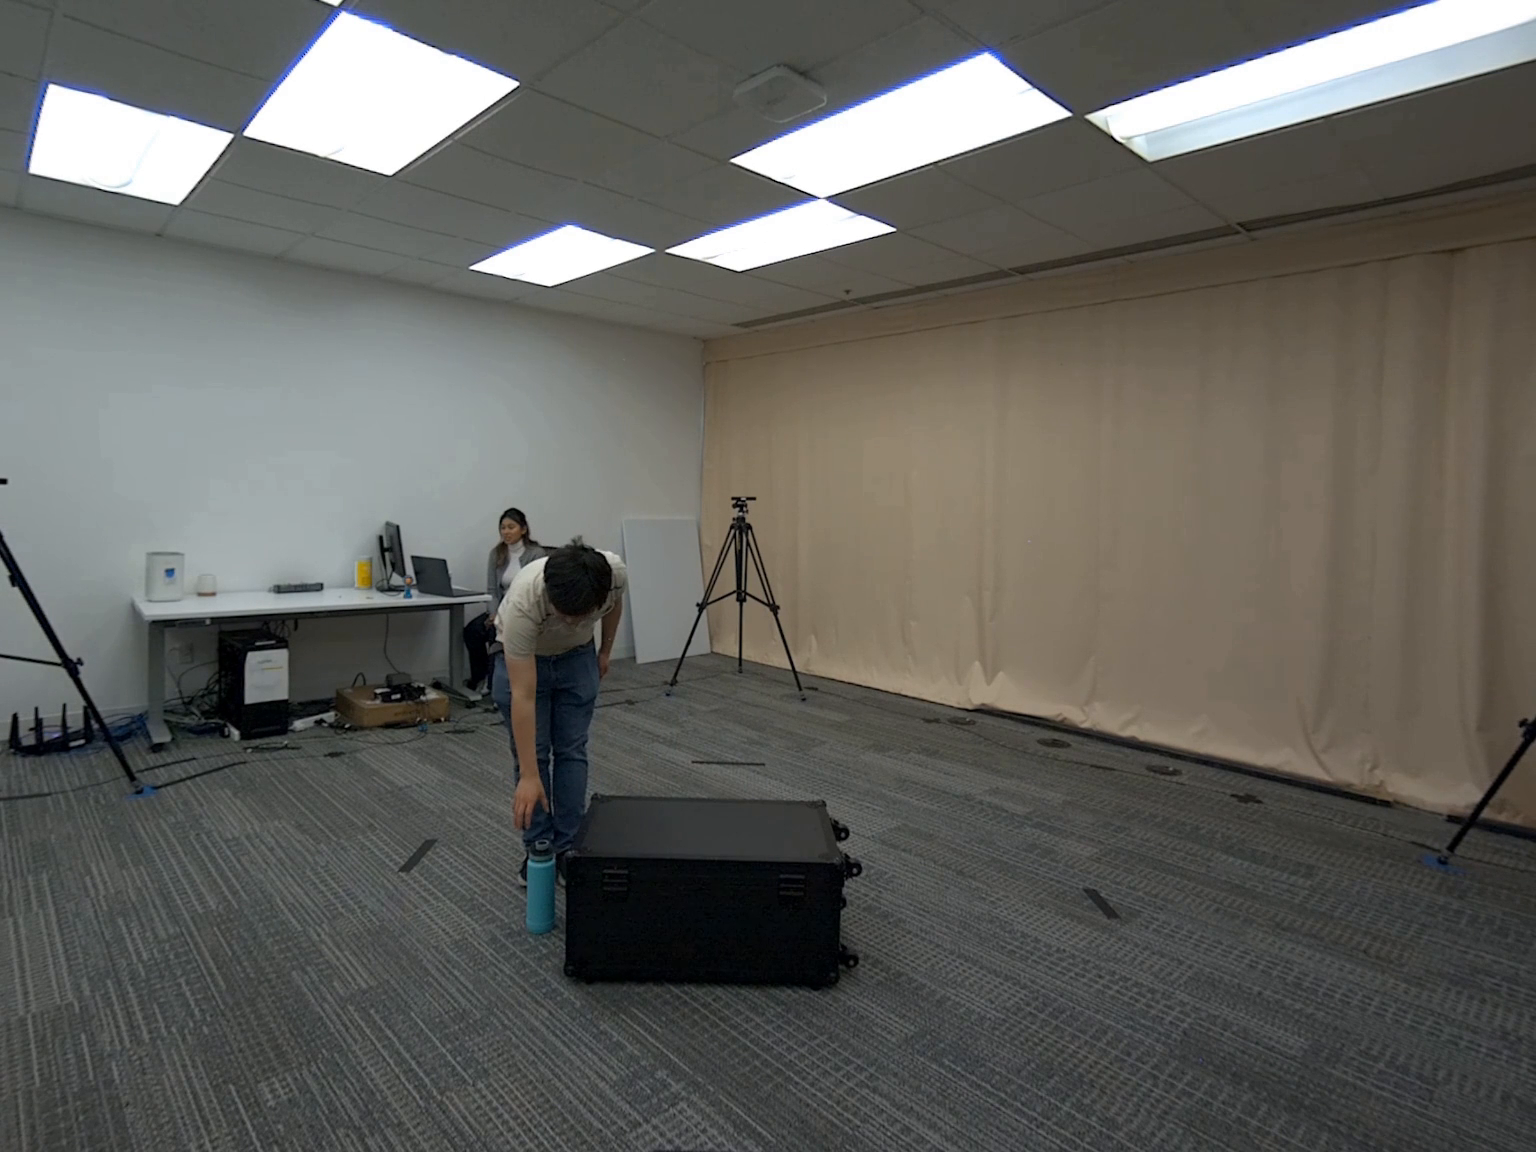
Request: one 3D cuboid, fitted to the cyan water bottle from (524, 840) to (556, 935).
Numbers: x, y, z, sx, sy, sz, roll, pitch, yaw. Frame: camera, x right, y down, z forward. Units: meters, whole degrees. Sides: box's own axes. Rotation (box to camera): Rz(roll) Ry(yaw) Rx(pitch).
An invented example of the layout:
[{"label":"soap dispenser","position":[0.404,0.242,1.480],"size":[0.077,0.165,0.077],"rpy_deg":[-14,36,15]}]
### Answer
[{"label":"cyan water bottle","position":[-0.729,0.984,2.703],"size":[0.092,0.282,0.093],"rpy_deg":[2,5,-2]}]
